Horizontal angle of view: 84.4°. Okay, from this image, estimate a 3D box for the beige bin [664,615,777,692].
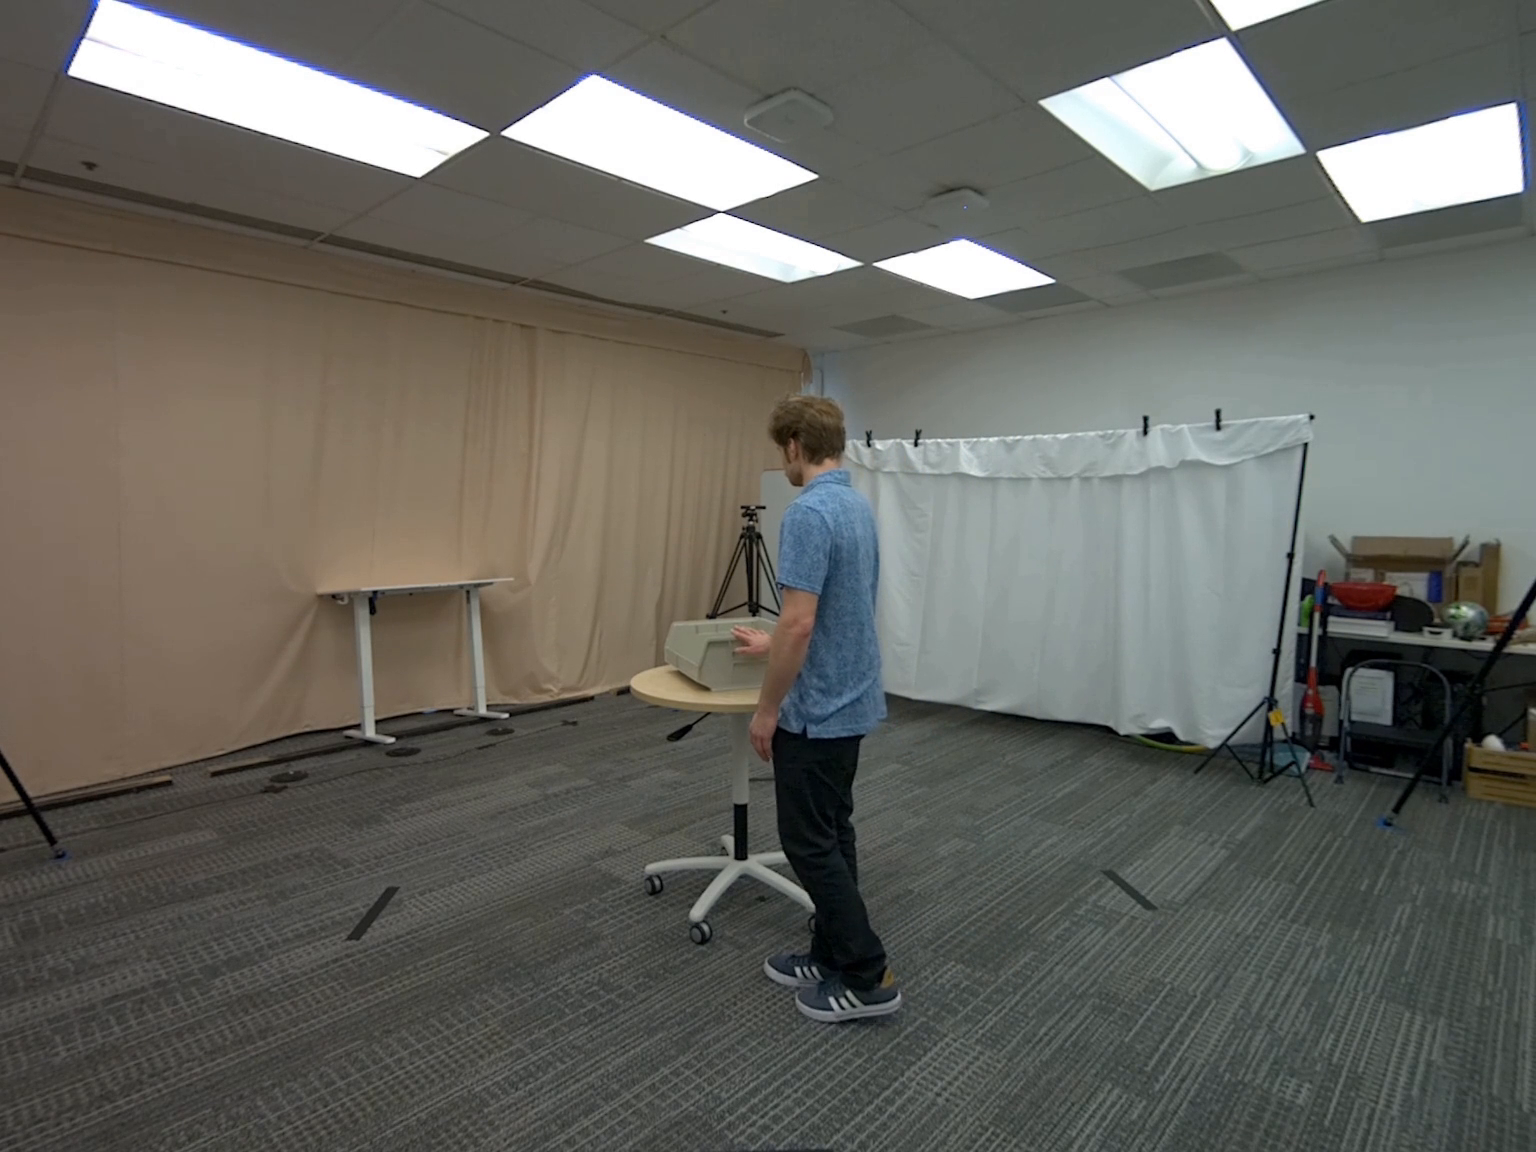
[{"bbox_3d":[-0.133,0.270,2.985,0.370,0.188,0.432,-1,4,-21],"label":"beige bin"}]
